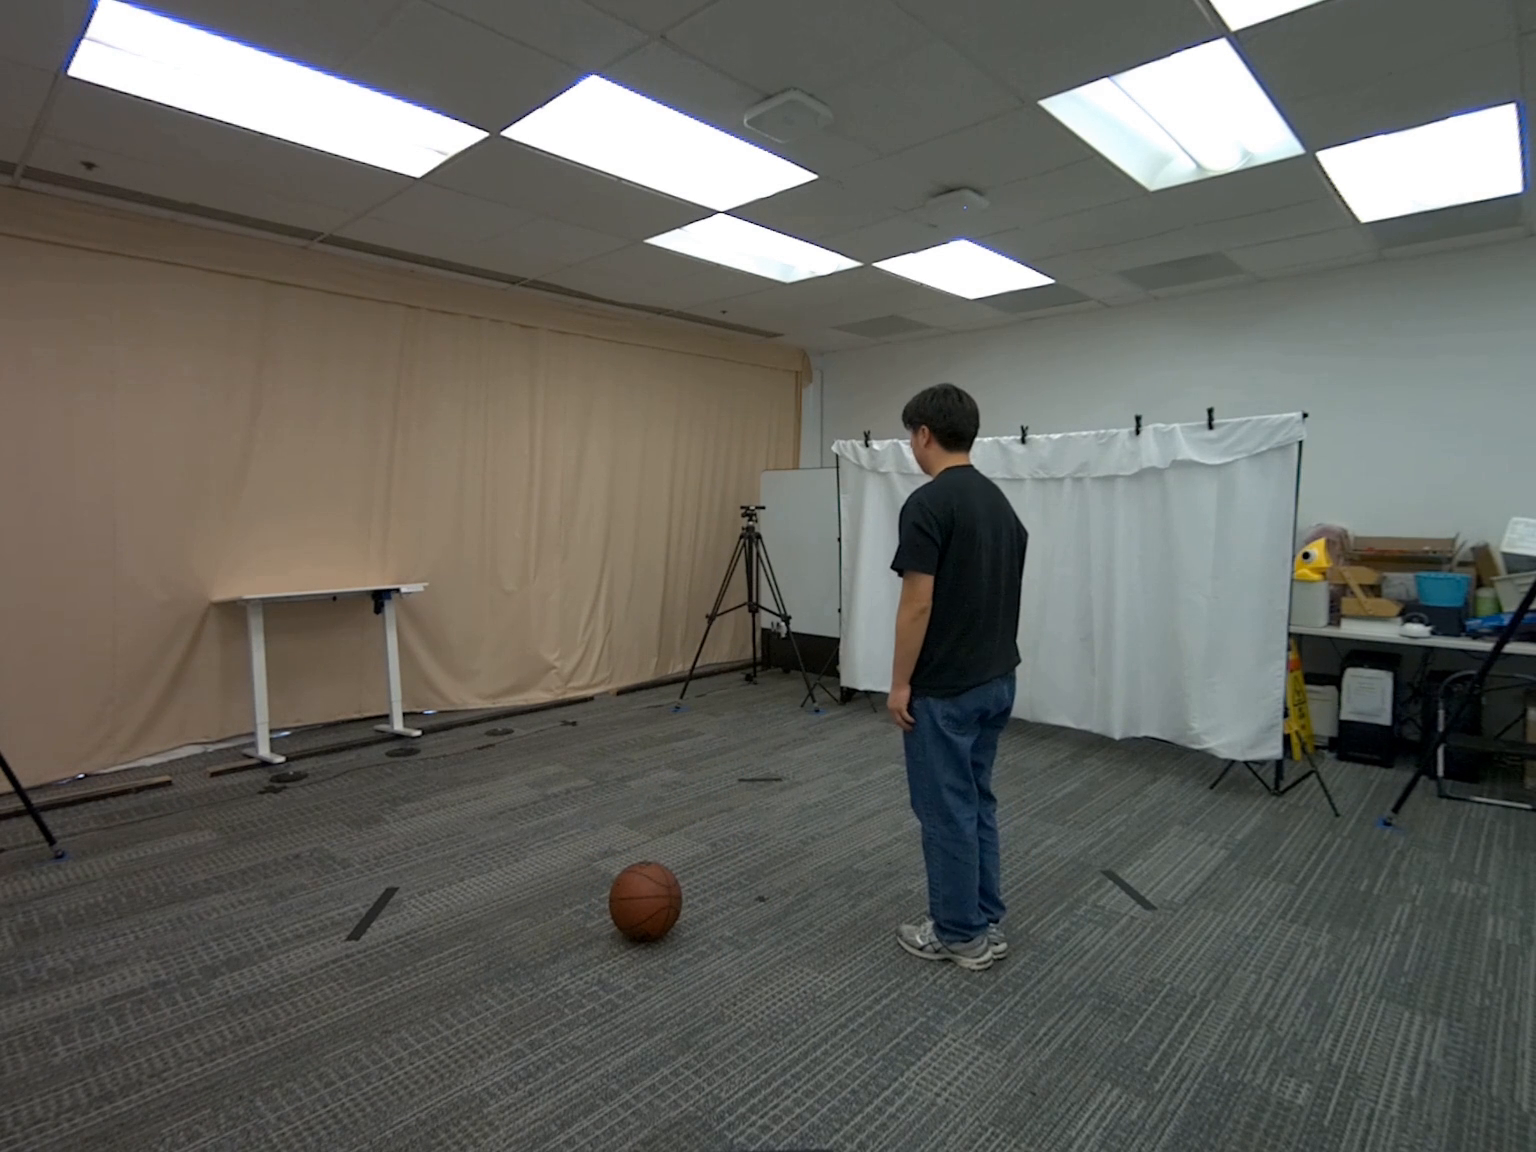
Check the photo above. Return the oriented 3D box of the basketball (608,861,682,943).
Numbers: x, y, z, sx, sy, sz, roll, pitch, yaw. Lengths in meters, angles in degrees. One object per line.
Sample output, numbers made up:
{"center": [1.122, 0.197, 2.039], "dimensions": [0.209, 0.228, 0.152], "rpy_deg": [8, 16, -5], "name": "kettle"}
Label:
{"center": [-0.401, 1.050, 2.722], "dimensions": [0.236, 0.235, 0.237], "rpy_deg": [0, 4, -2], "name": "basketball"}
